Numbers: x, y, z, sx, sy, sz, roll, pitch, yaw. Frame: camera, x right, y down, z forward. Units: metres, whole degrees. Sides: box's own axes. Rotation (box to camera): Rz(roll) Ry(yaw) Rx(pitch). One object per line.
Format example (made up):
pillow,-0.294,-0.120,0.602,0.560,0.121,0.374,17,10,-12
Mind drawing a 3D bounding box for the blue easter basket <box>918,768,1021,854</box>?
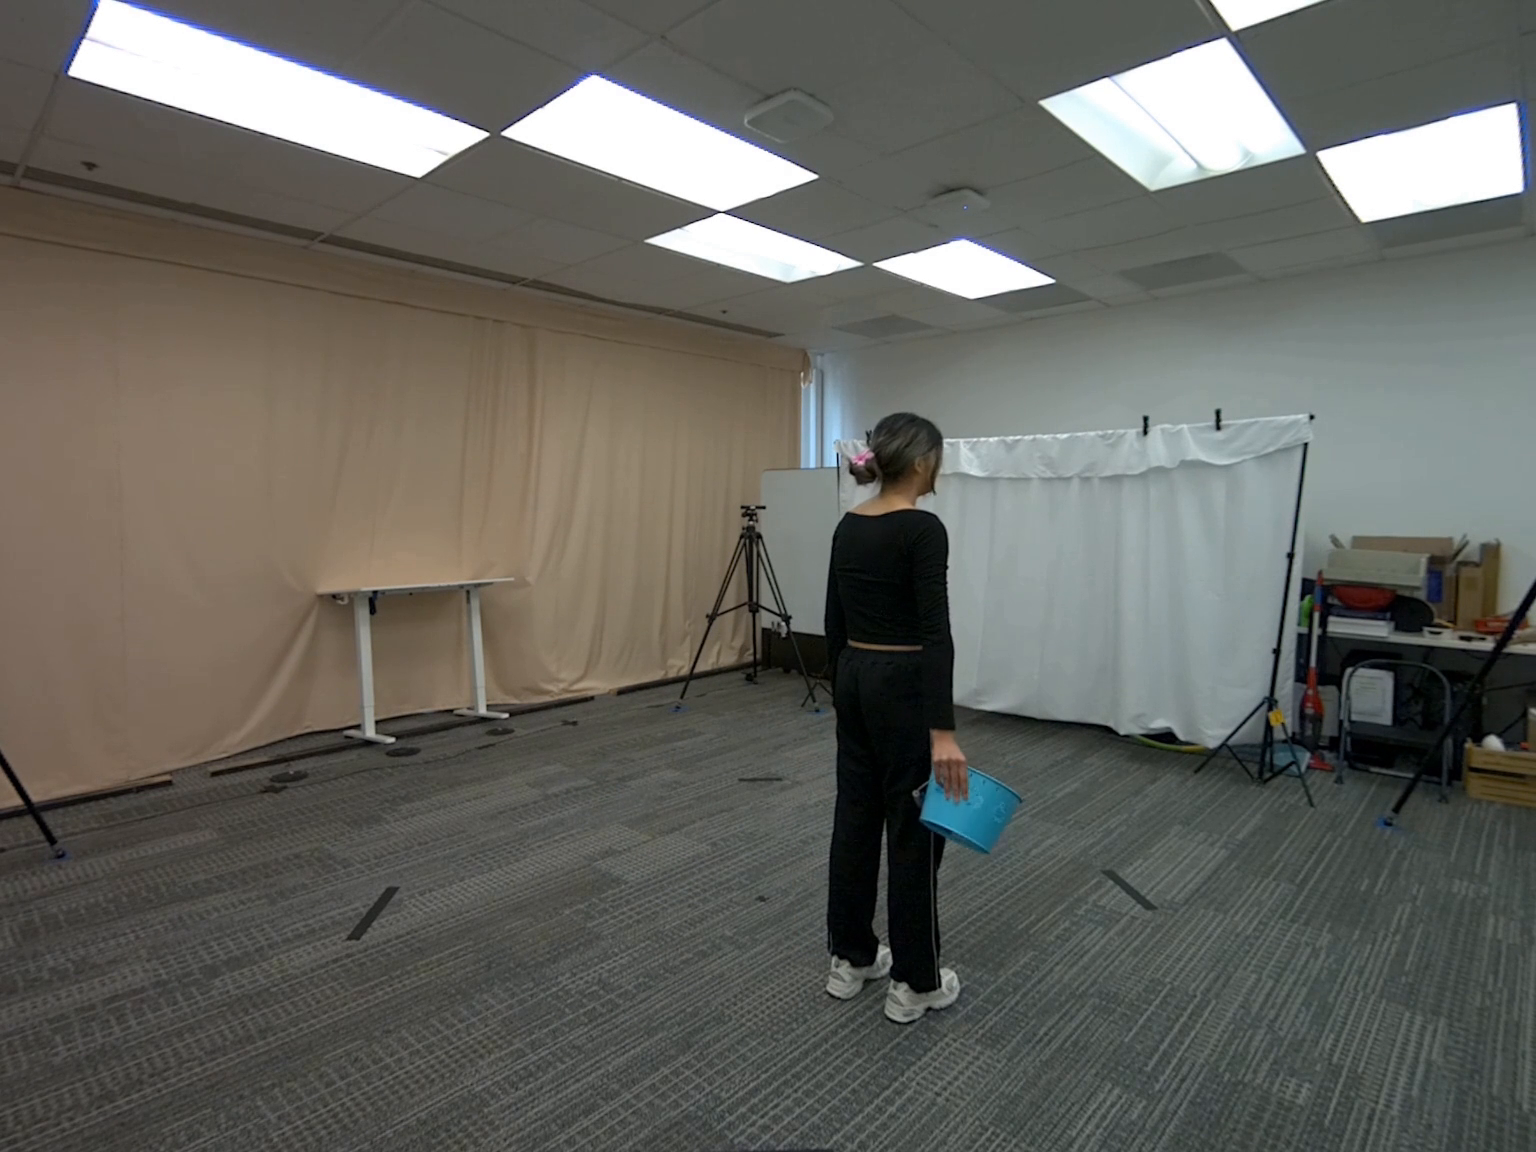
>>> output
blue easter basket,0.494,0.573,2.111,0.246,0.156,0.241,28,-17,7
